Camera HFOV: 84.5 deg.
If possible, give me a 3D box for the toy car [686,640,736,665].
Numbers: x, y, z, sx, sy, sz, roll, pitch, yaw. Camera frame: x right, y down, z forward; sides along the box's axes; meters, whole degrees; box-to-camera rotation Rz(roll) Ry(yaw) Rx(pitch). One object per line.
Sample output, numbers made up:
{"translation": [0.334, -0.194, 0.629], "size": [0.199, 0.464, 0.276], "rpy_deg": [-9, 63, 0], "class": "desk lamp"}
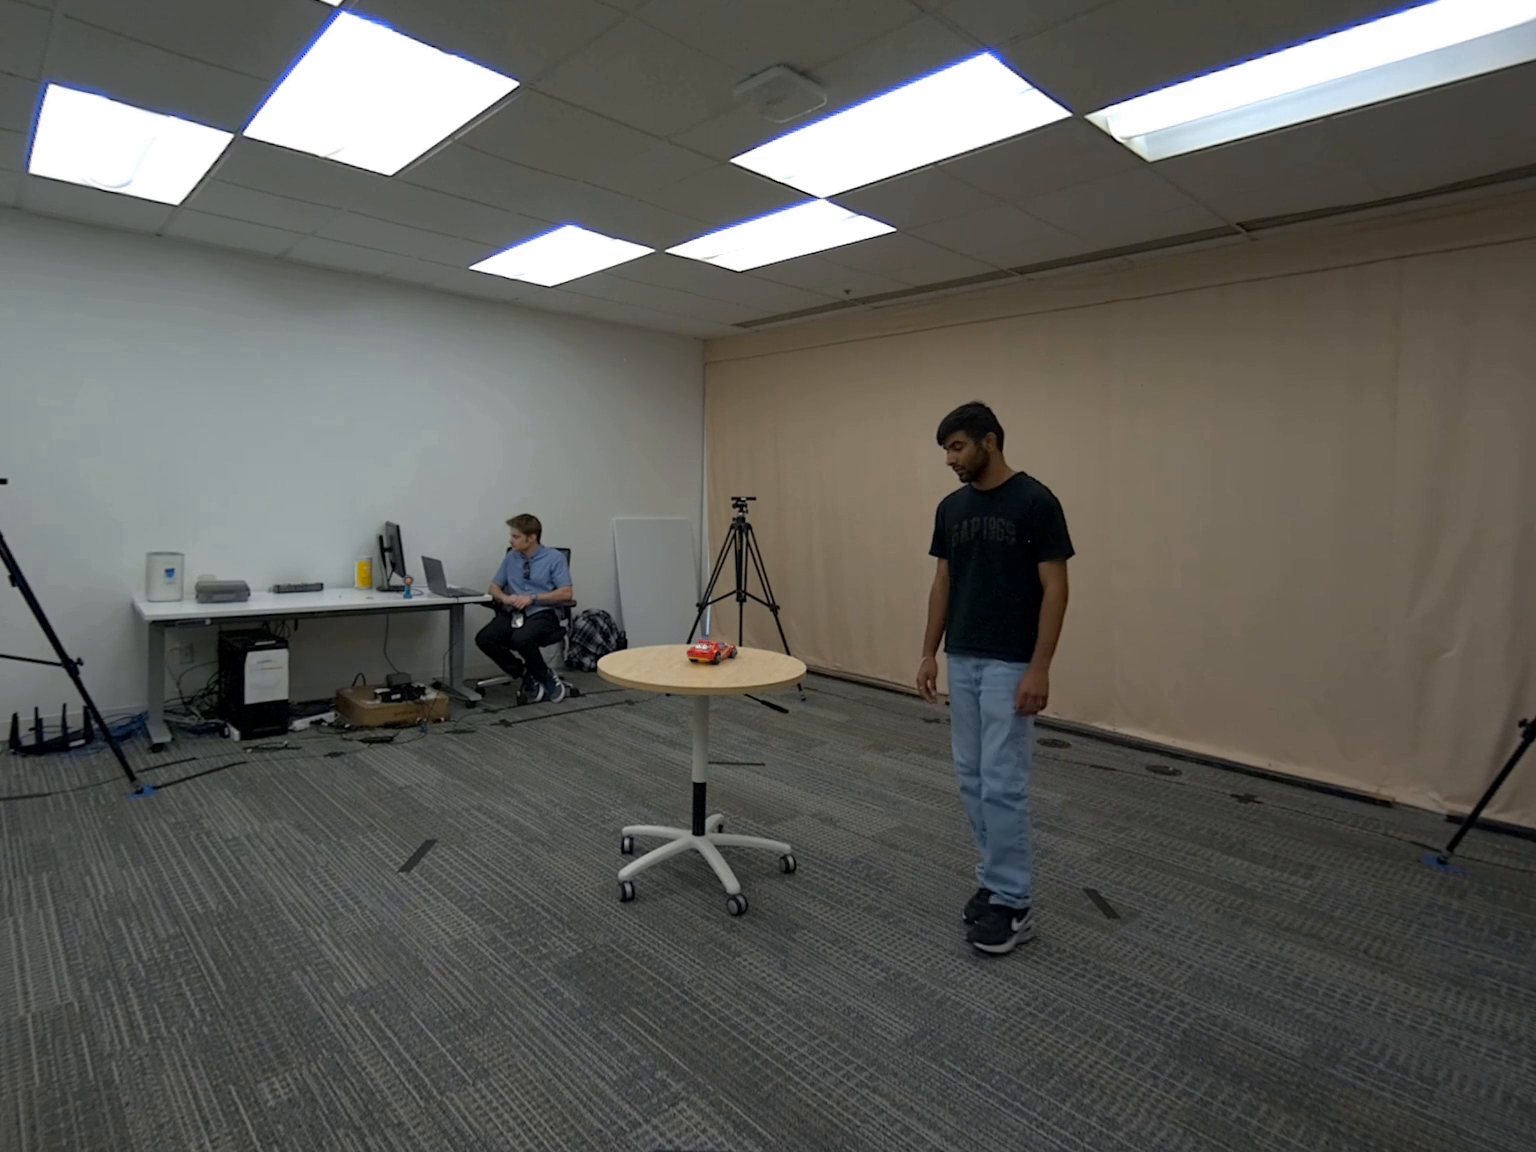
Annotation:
{"translation": [-0.225, 0.286, 3.151], "size": [0.133, 0.083, 0.249], "rpy_deg": [4, -5, 23], "class": "toy car"}
